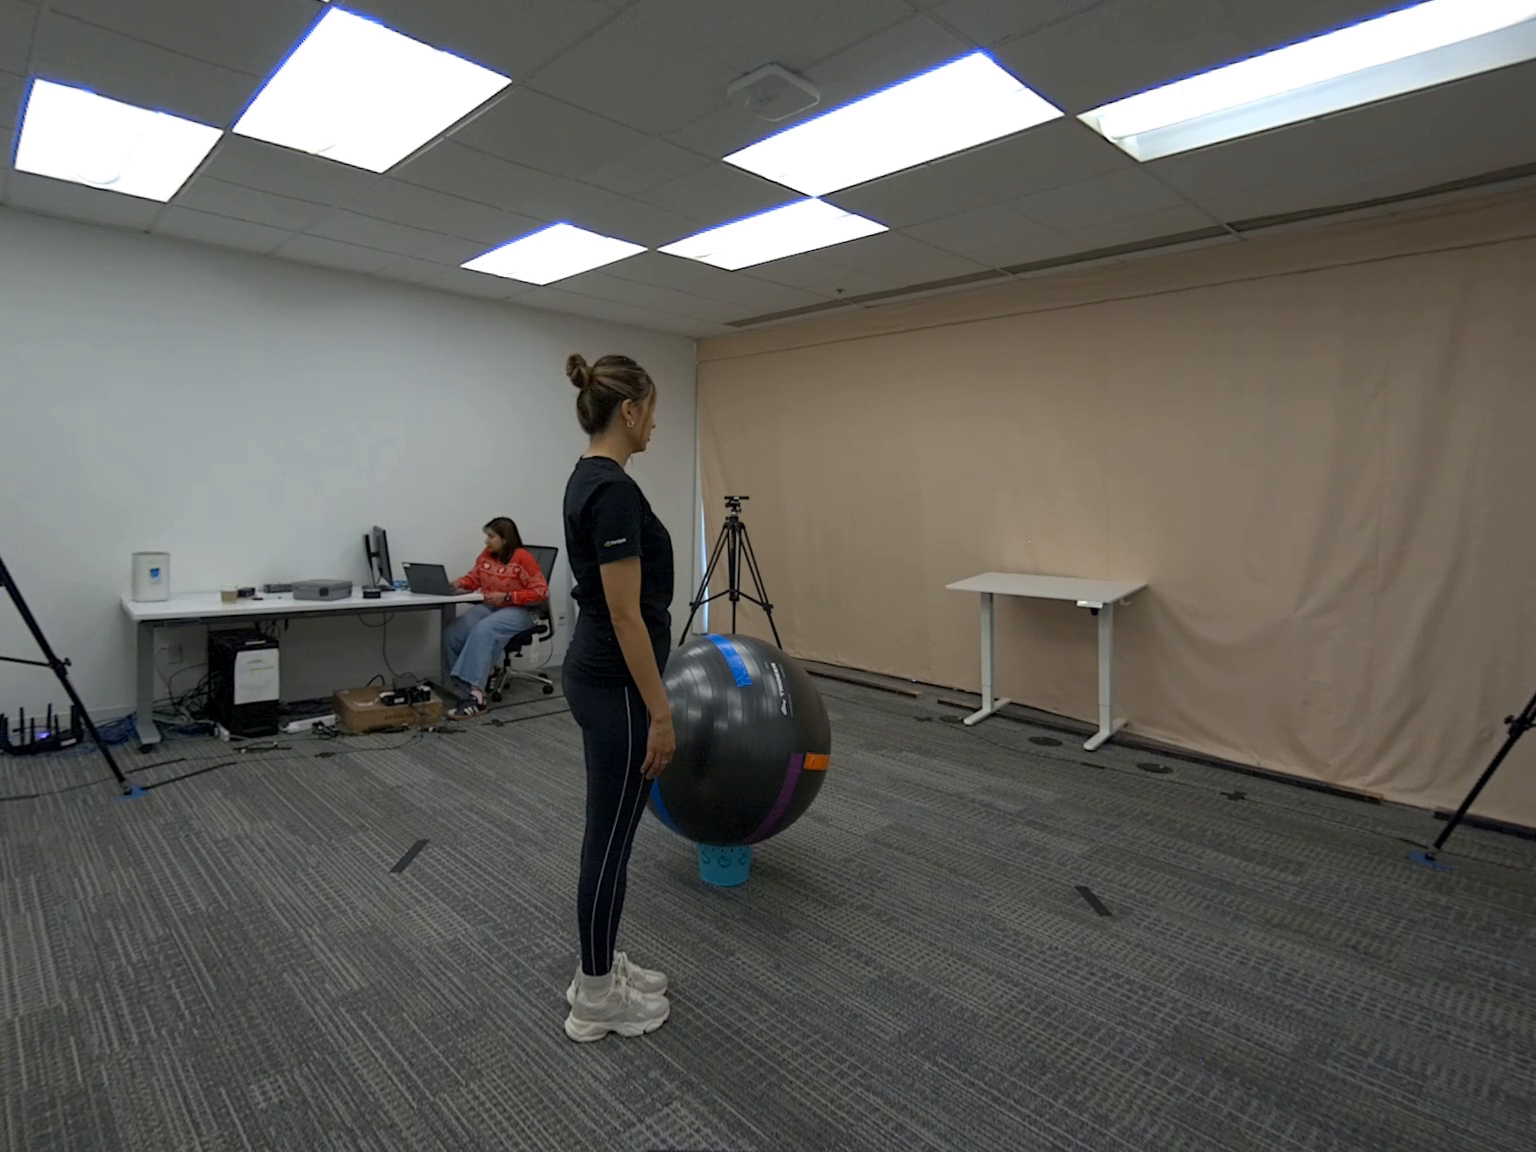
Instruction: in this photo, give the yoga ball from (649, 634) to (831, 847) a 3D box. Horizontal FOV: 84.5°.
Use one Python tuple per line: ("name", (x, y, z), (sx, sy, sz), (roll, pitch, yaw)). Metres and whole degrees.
("yoga ball", (-0.150, 0.596, 3.080), (0.757, 0.756, 0.761), (1, 4, -1))
